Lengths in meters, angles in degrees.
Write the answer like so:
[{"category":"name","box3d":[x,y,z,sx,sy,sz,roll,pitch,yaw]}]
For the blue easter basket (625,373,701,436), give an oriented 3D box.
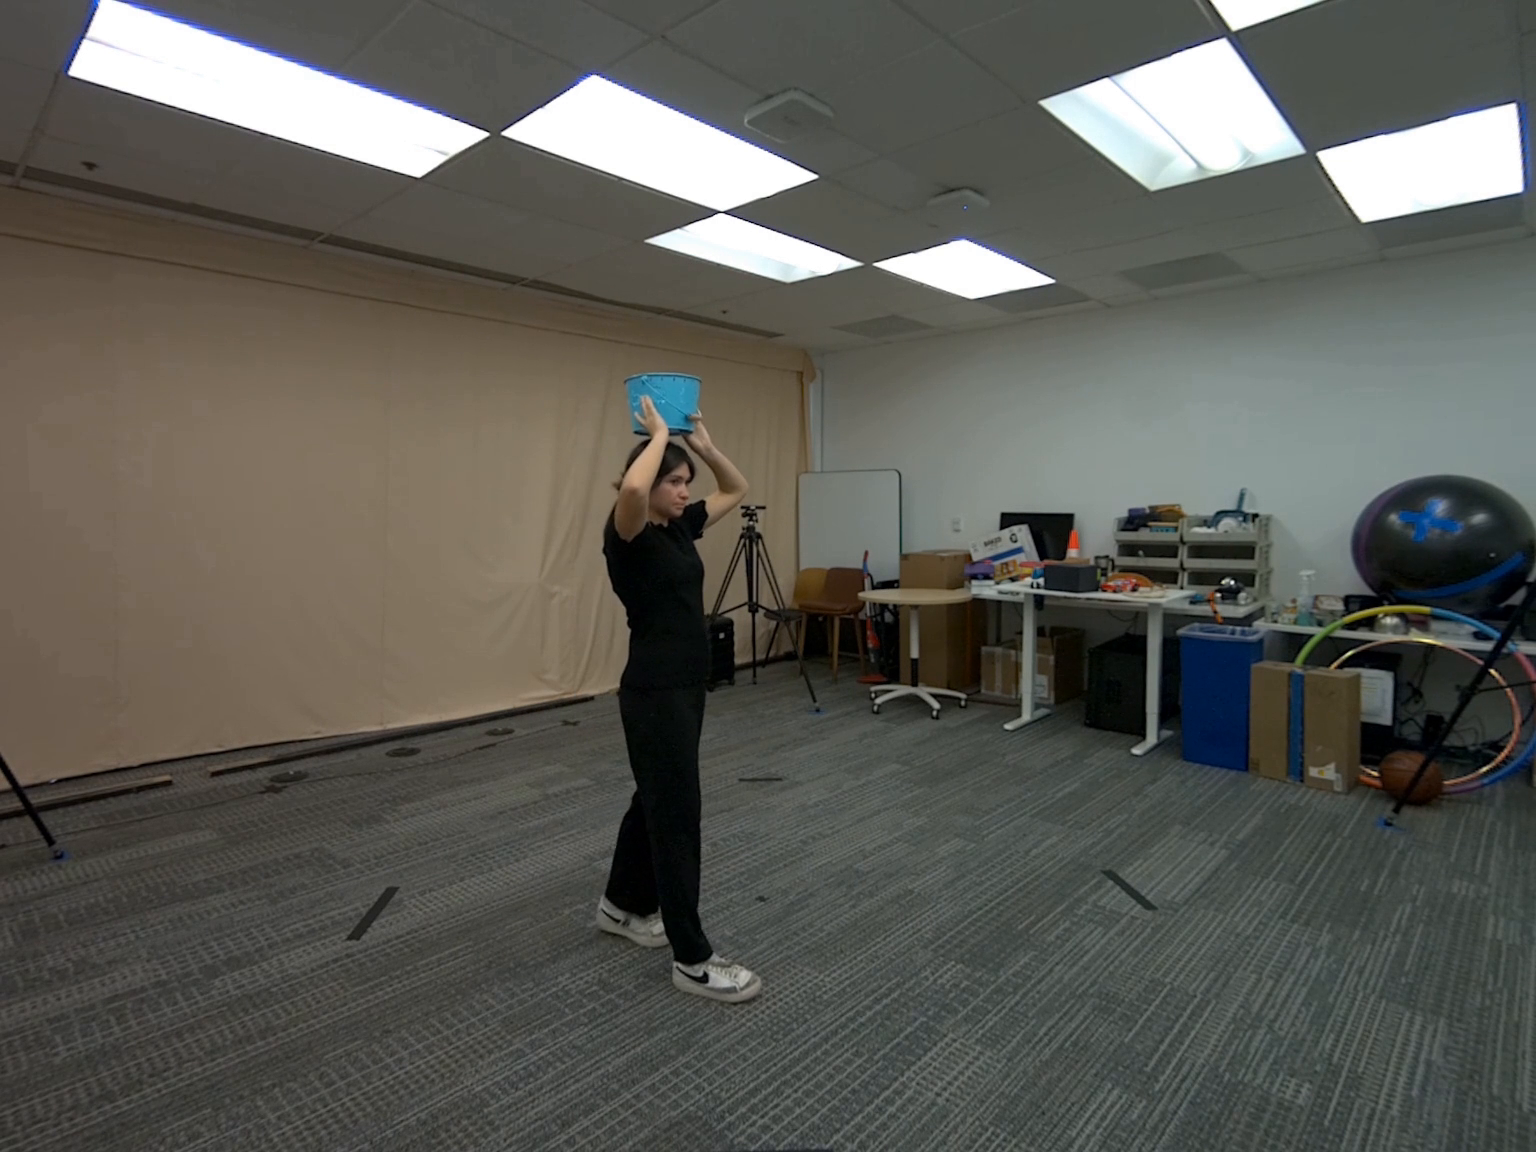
[{"category":"blue easter basket","box3d":[-0.314,-0.502,2.483,0.243,0.156,0.244,-3,0,-2]}]
